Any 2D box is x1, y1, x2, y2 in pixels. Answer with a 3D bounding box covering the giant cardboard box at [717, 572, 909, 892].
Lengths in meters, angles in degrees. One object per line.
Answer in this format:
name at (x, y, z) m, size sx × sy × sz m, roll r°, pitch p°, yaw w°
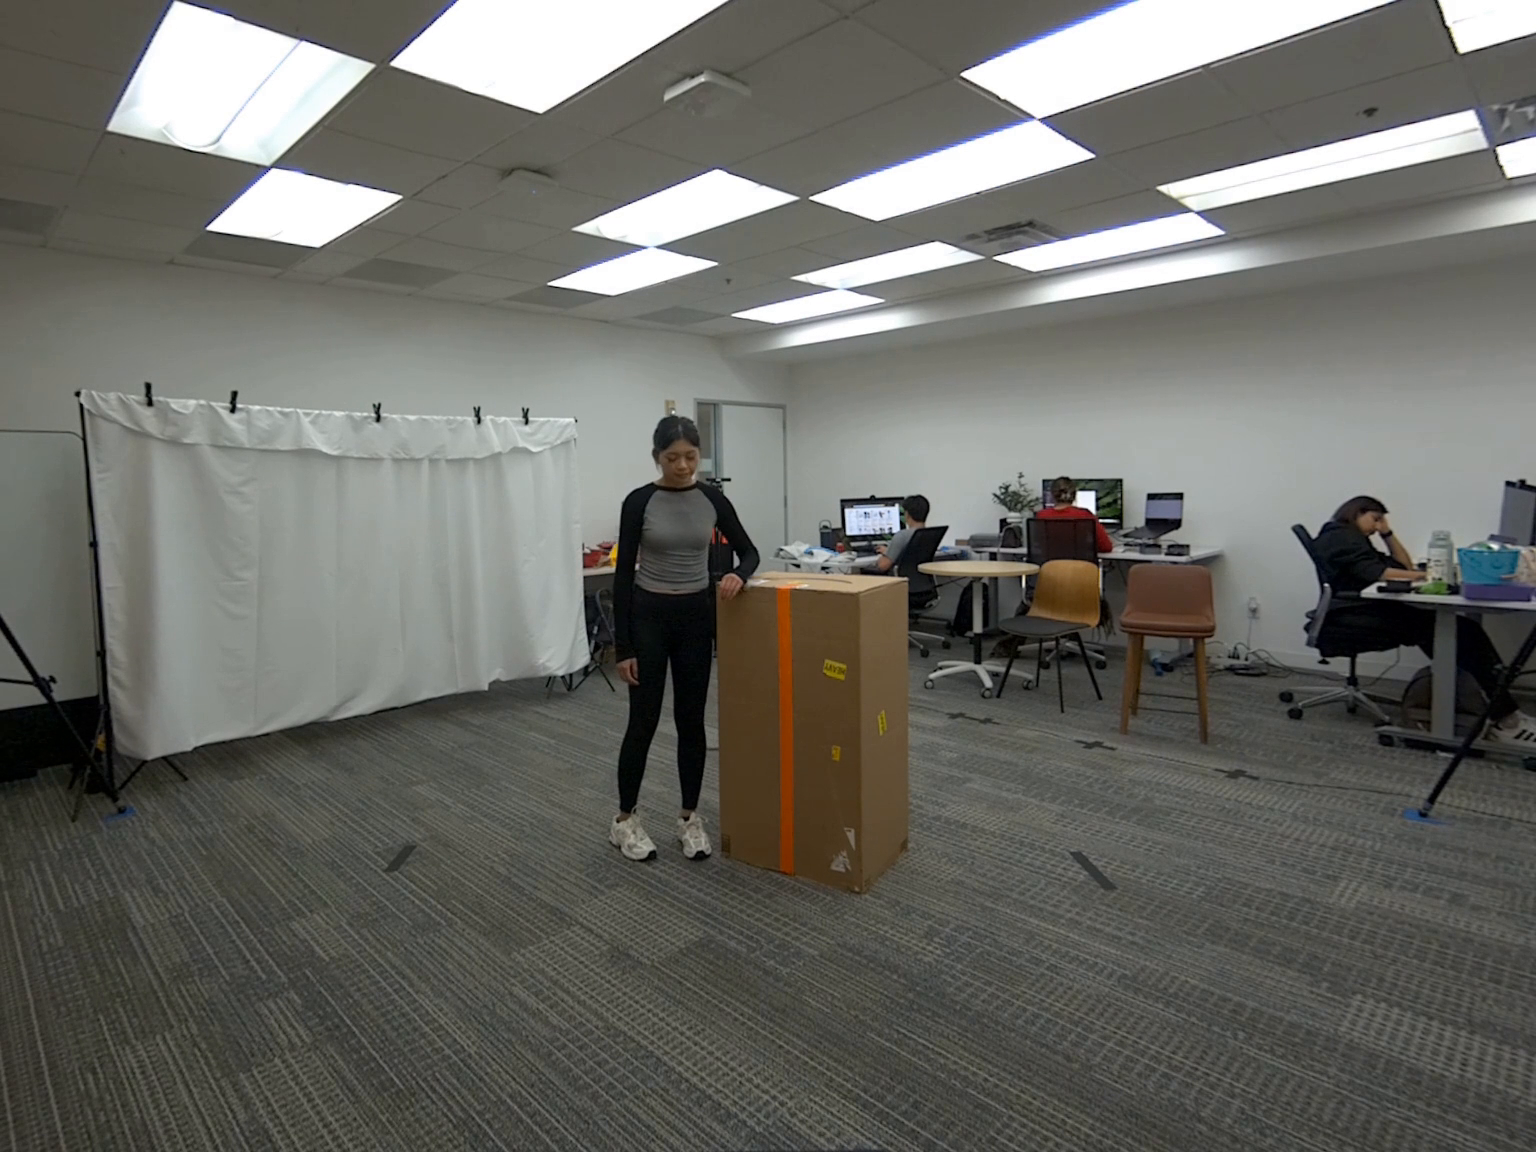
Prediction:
giant cardboard box at (0.177, 0.523, 3.149) m, size 0.594 × 1.022 × 0.416 m, roll 2°, pitch 5°, yaw 33°
